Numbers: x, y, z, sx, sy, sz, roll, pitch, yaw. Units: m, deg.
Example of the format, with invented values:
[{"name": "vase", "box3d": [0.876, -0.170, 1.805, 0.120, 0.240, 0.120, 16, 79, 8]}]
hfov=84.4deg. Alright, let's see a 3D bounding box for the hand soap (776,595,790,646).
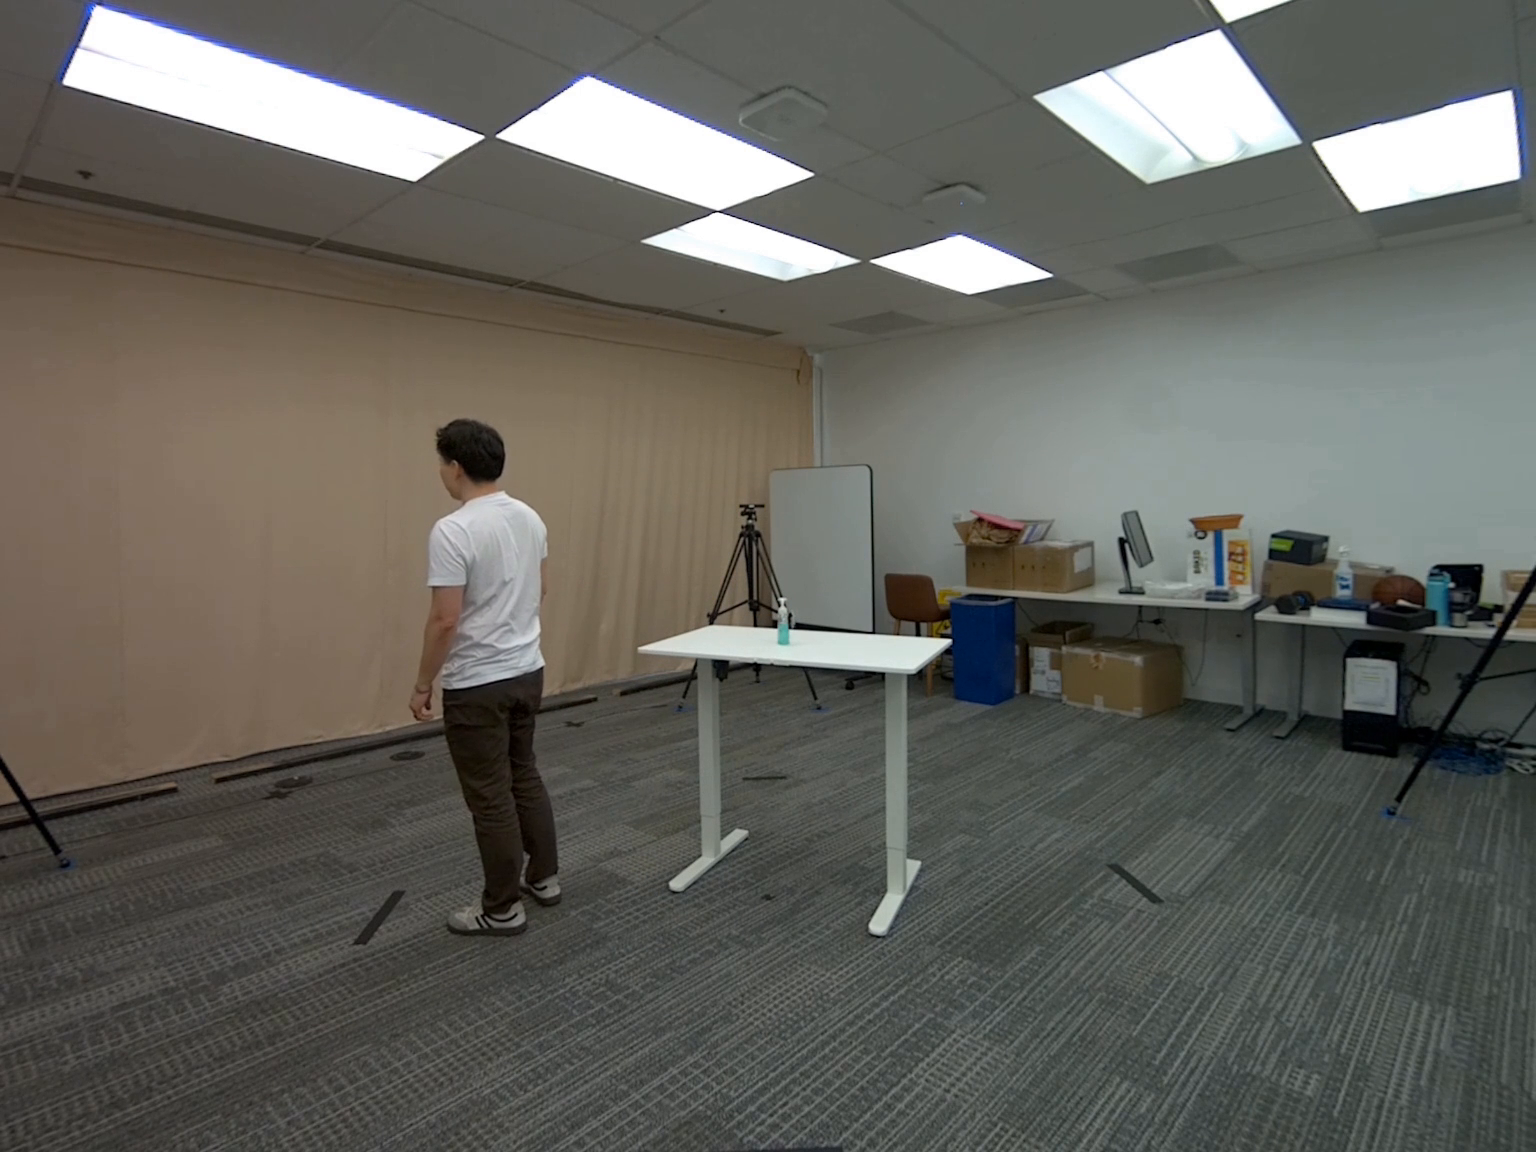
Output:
[{"name": "hand soap", "box3d": [0.058, 0.168, 3.077, 0.043, 0.168, 0.085, -2, 2, -6]}]
